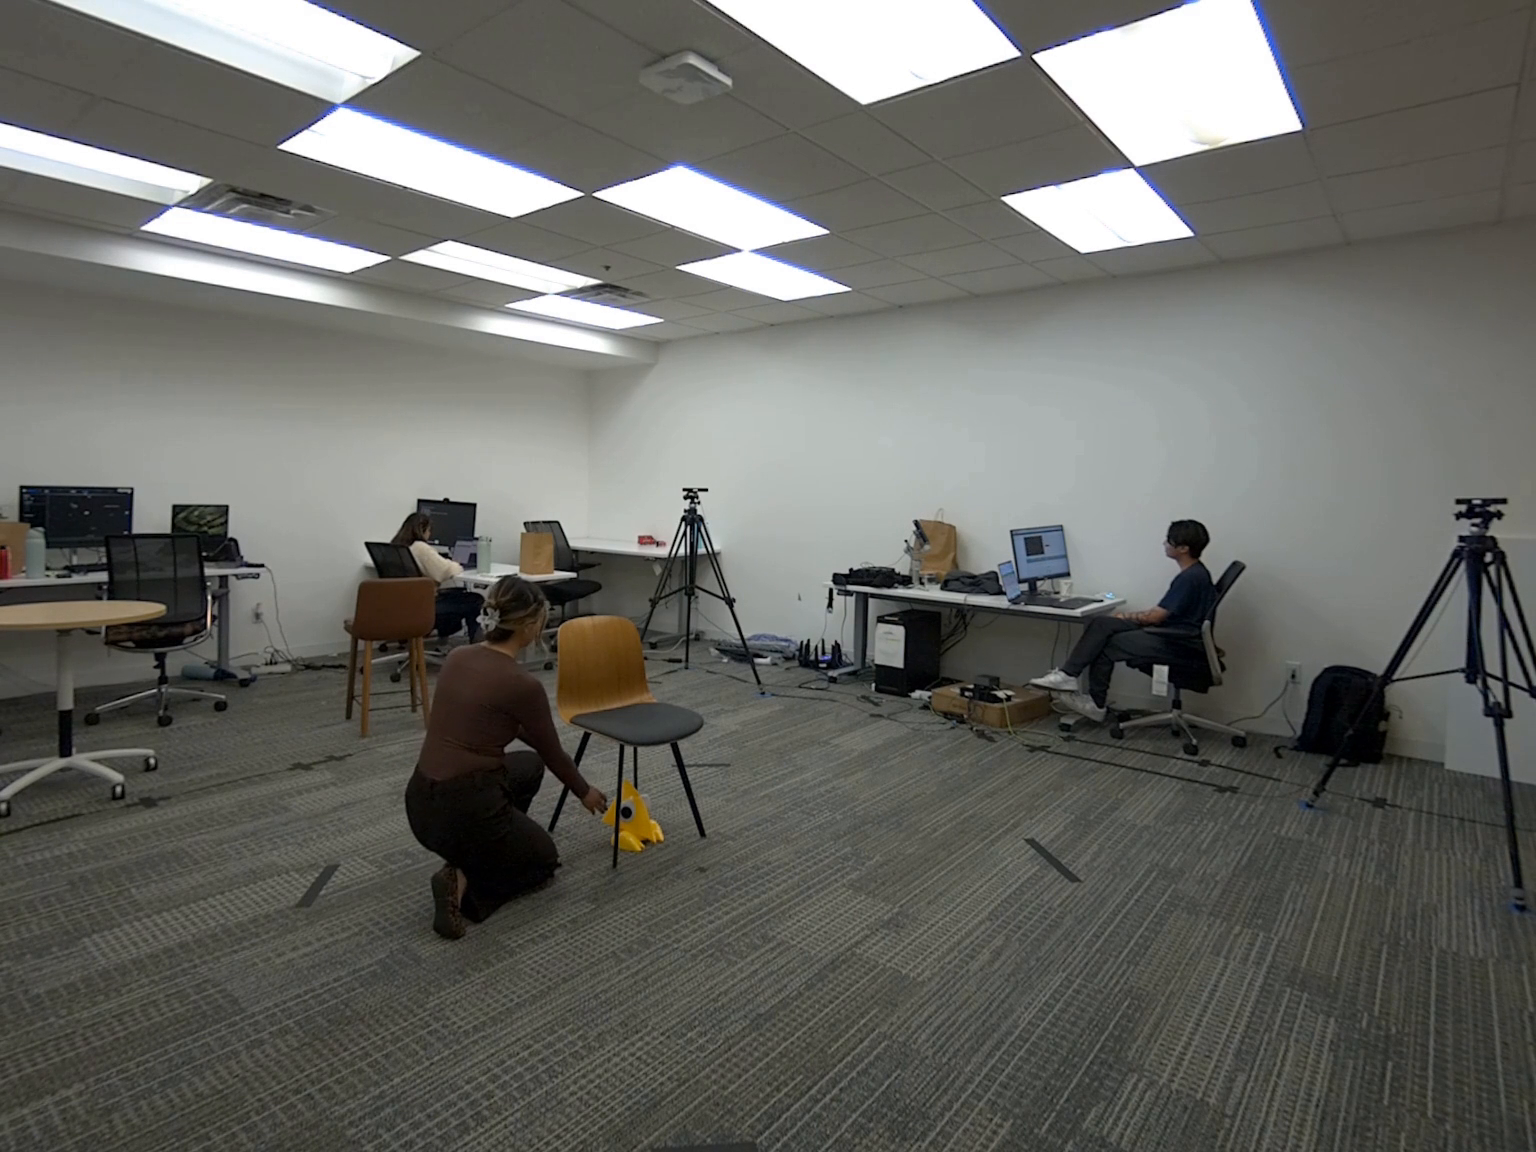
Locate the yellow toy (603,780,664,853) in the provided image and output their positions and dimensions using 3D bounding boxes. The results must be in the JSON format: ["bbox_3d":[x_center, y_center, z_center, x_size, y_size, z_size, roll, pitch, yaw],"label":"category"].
[{"bbox_3d":[-0.533,0.928,3.362,0.199,0.230,0.199,4,4,39],"label":"yellow toy"}]
